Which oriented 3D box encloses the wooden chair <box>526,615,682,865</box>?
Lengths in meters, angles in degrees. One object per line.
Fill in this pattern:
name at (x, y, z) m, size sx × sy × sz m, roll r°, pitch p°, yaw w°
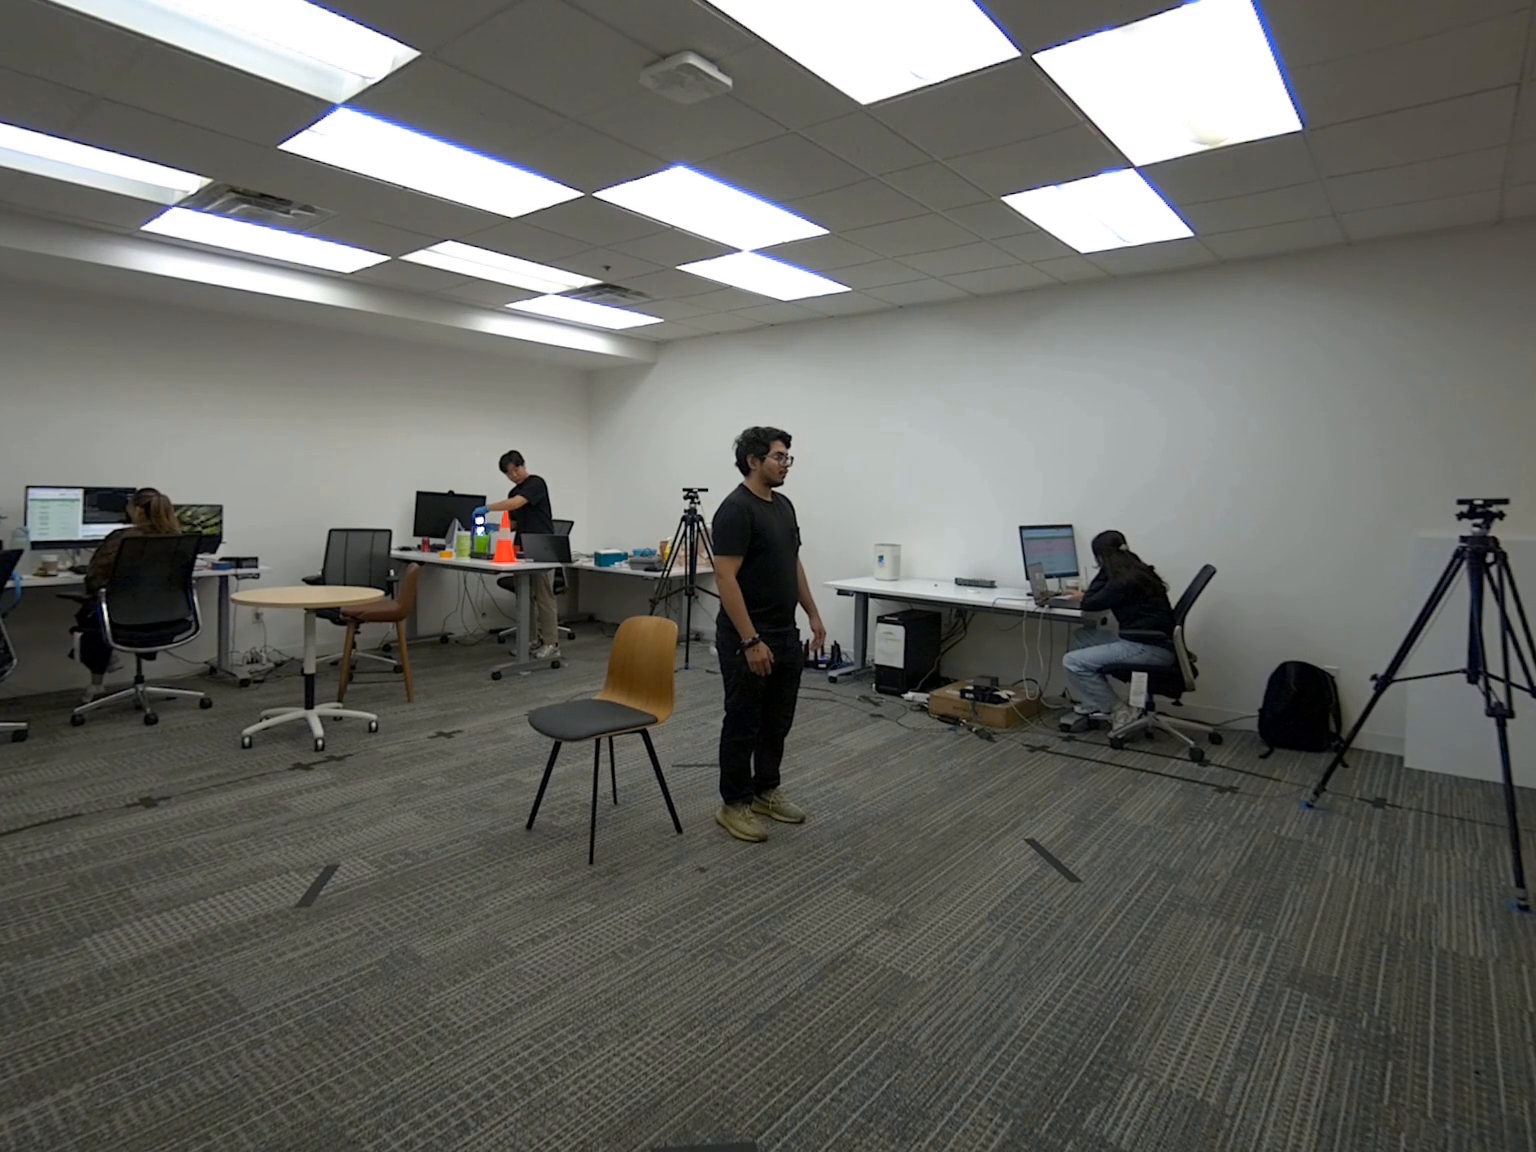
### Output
wooden chair at (-0.673, 0.606, 3.412) m, size 0.494 × 0.878 × 0.506 m, roll 4°, pitch 0°, yaw 43°
